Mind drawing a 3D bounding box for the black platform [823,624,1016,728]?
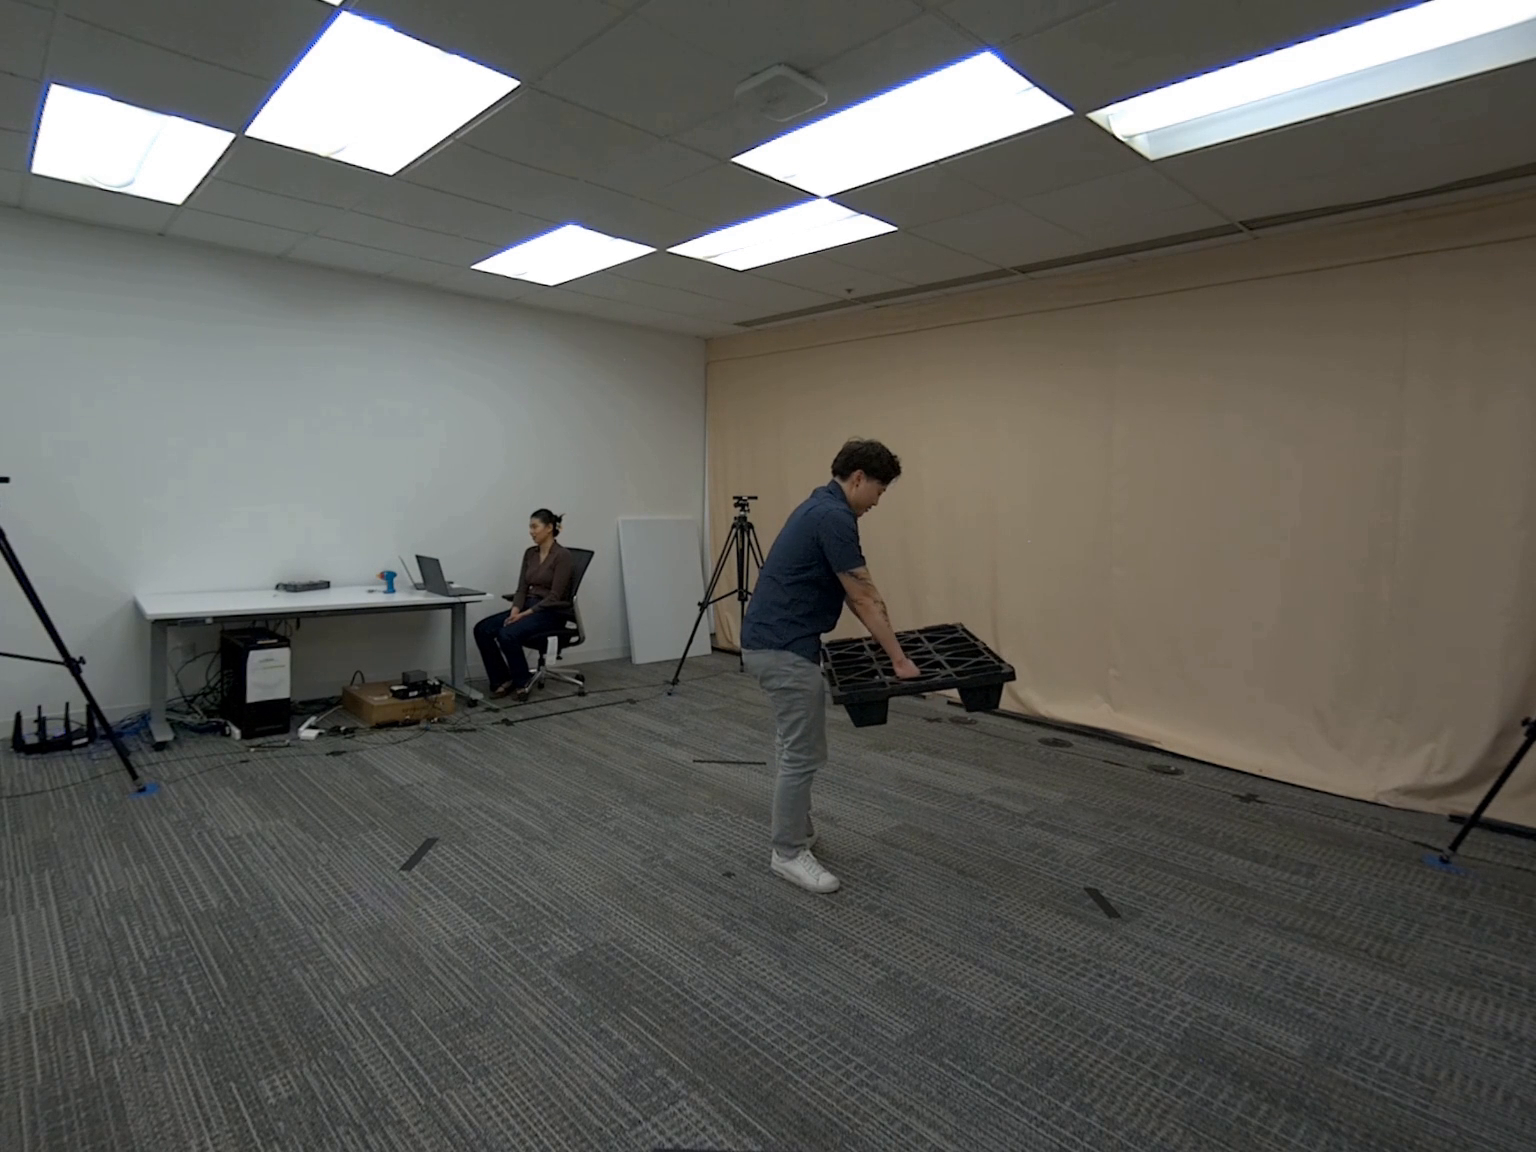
[{"bbox_3d":[0.507,0.361,3.129,0.606,0.142,0.809,-9,8,2],"label":"black platform"}]
